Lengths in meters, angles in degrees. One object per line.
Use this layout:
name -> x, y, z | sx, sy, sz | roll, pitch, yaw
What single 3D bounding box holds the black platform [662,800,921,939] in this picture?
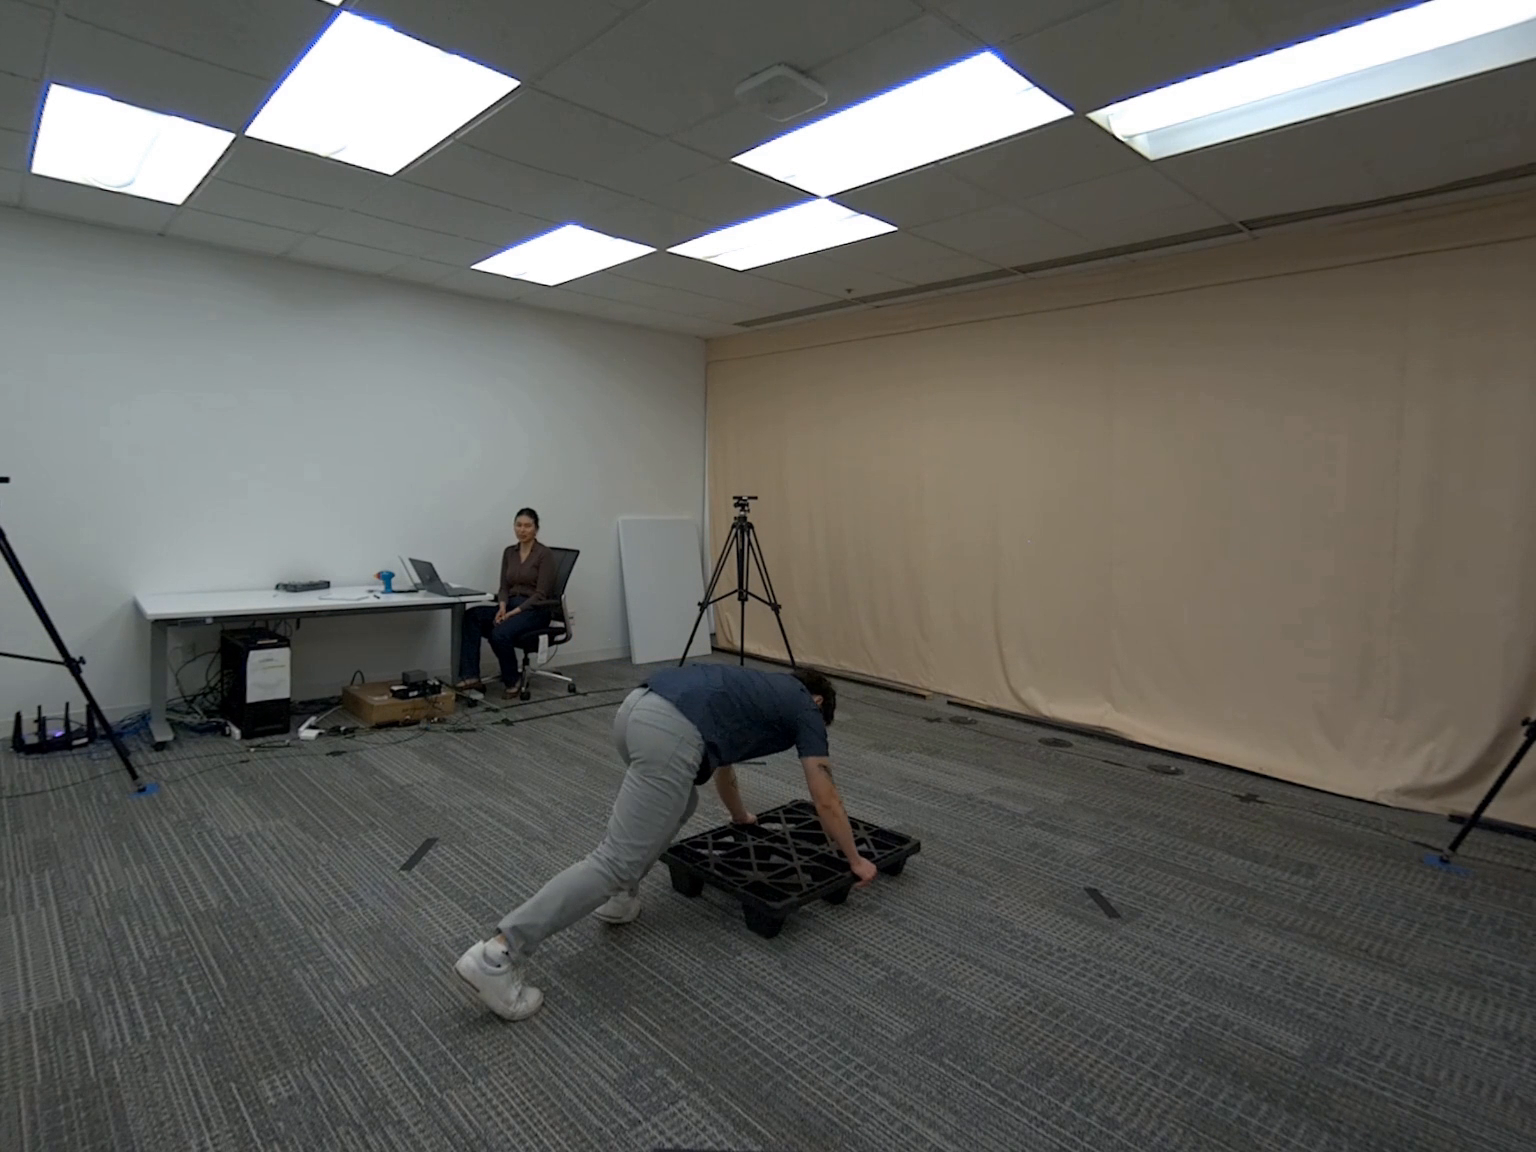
black platform -> 0.079, 1.045, 3.062 | 0.621, 0.143, 0.787 | 7, 8, 44
